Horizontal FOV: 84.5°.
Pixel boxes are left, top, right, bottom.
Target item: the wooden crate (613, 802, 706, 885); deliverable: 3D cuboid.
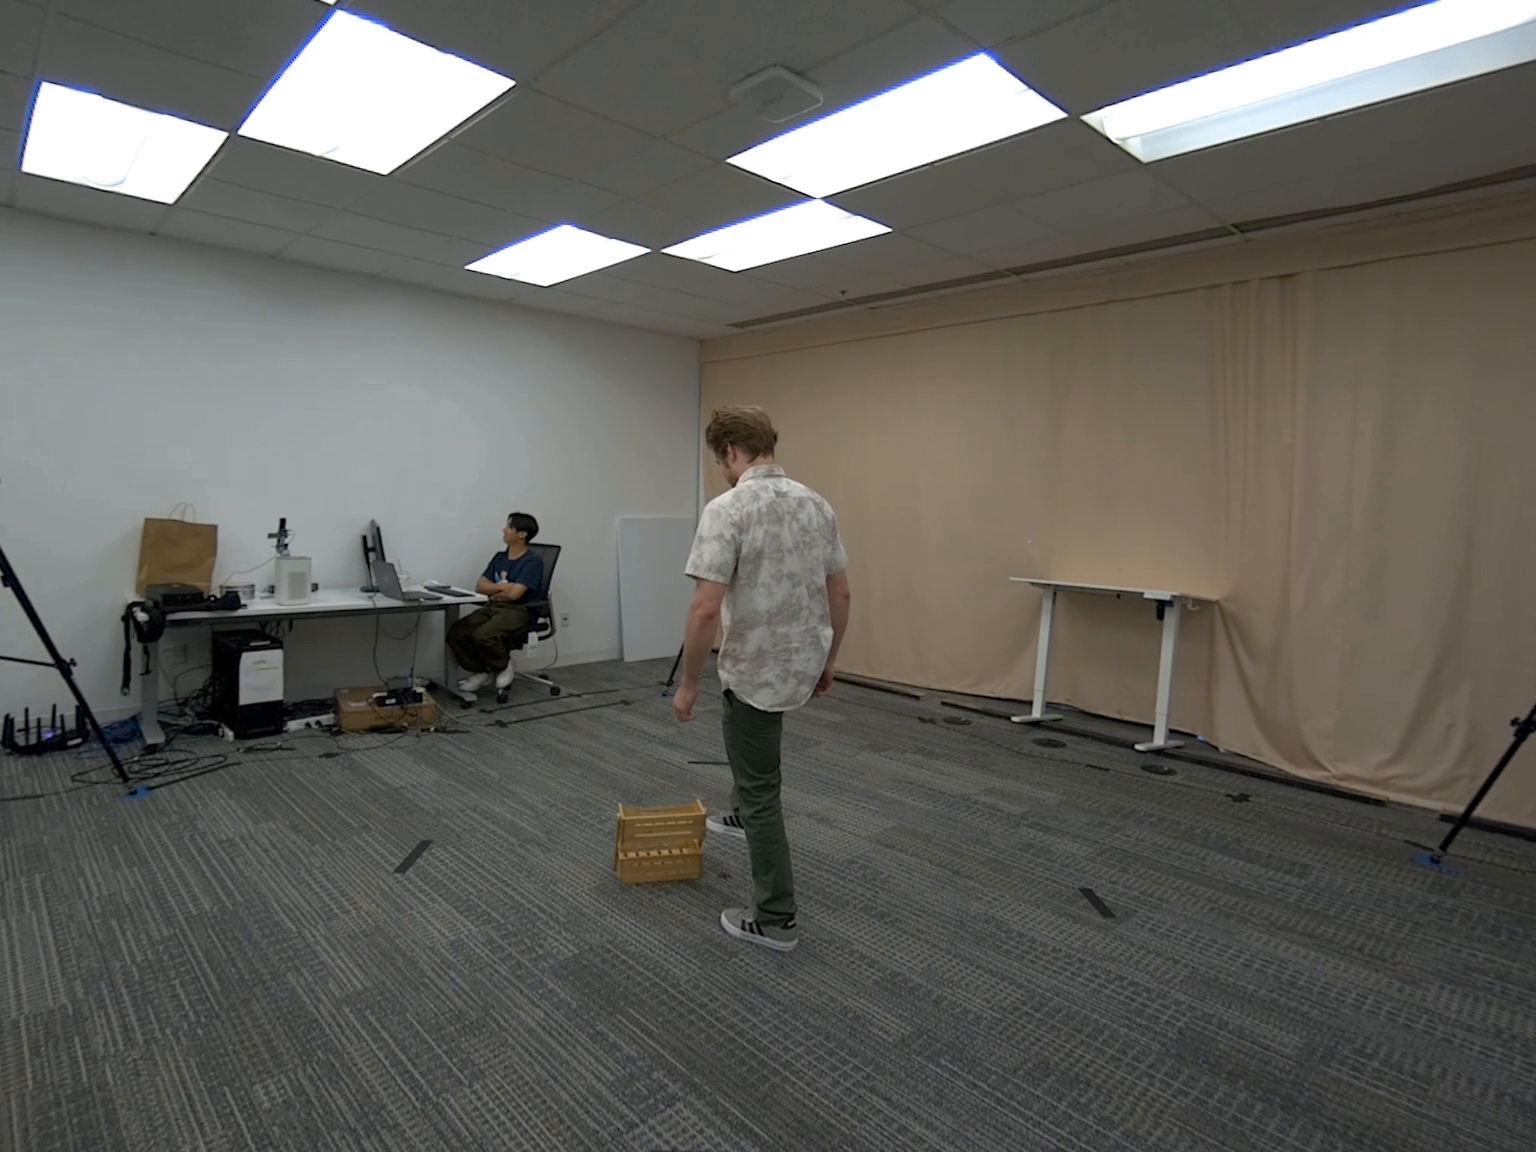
[{"bbox_3d":[-0.420,0.965,3.146,0.321,0.273,0.306,0,4,-14],"label":"wooden crate"}]
